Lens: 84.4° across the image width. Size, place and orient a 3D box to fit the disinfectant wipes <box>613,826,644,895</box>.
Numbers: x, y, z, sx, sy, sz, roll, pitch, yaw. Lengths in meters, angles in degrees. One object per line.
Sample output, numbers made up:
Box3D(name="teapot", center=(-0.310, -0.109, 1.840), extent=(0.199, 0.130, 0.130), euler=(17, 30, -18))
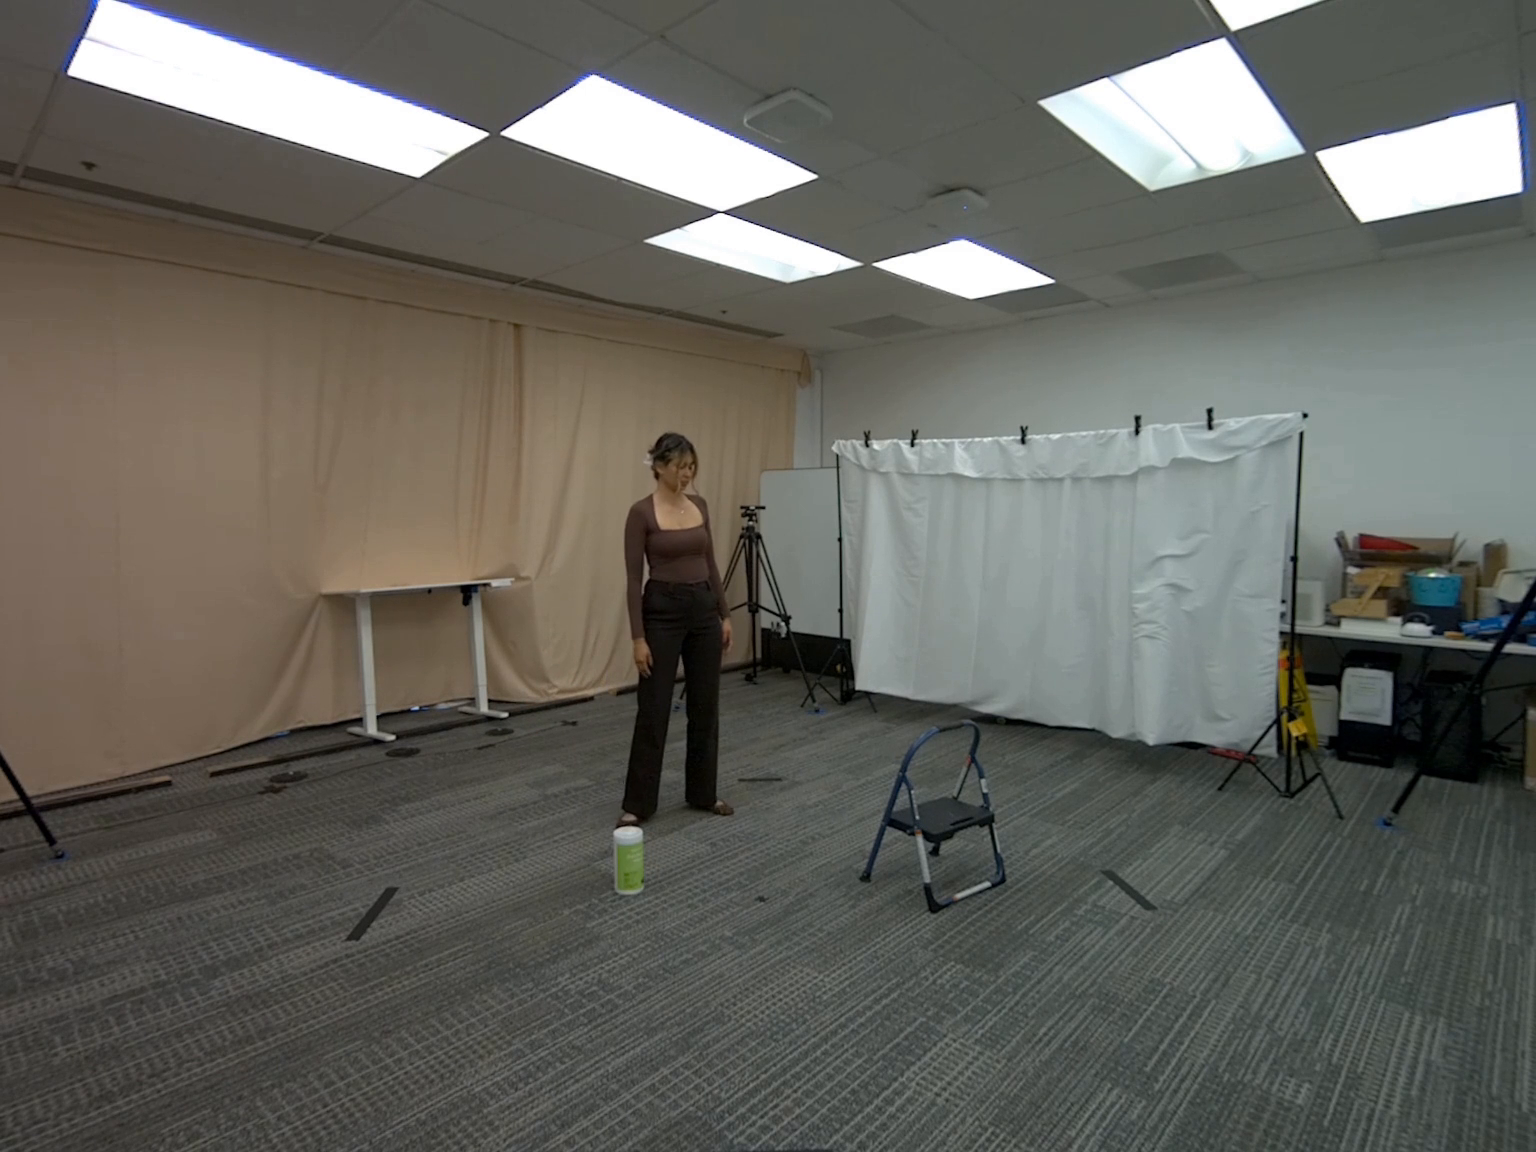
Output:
Box3D(name="disinfectant wipes", center=(-0.512, 1.031, 3.052), extent=(0.117, 0.217, 0.118), euler=(3, 5, -2))
